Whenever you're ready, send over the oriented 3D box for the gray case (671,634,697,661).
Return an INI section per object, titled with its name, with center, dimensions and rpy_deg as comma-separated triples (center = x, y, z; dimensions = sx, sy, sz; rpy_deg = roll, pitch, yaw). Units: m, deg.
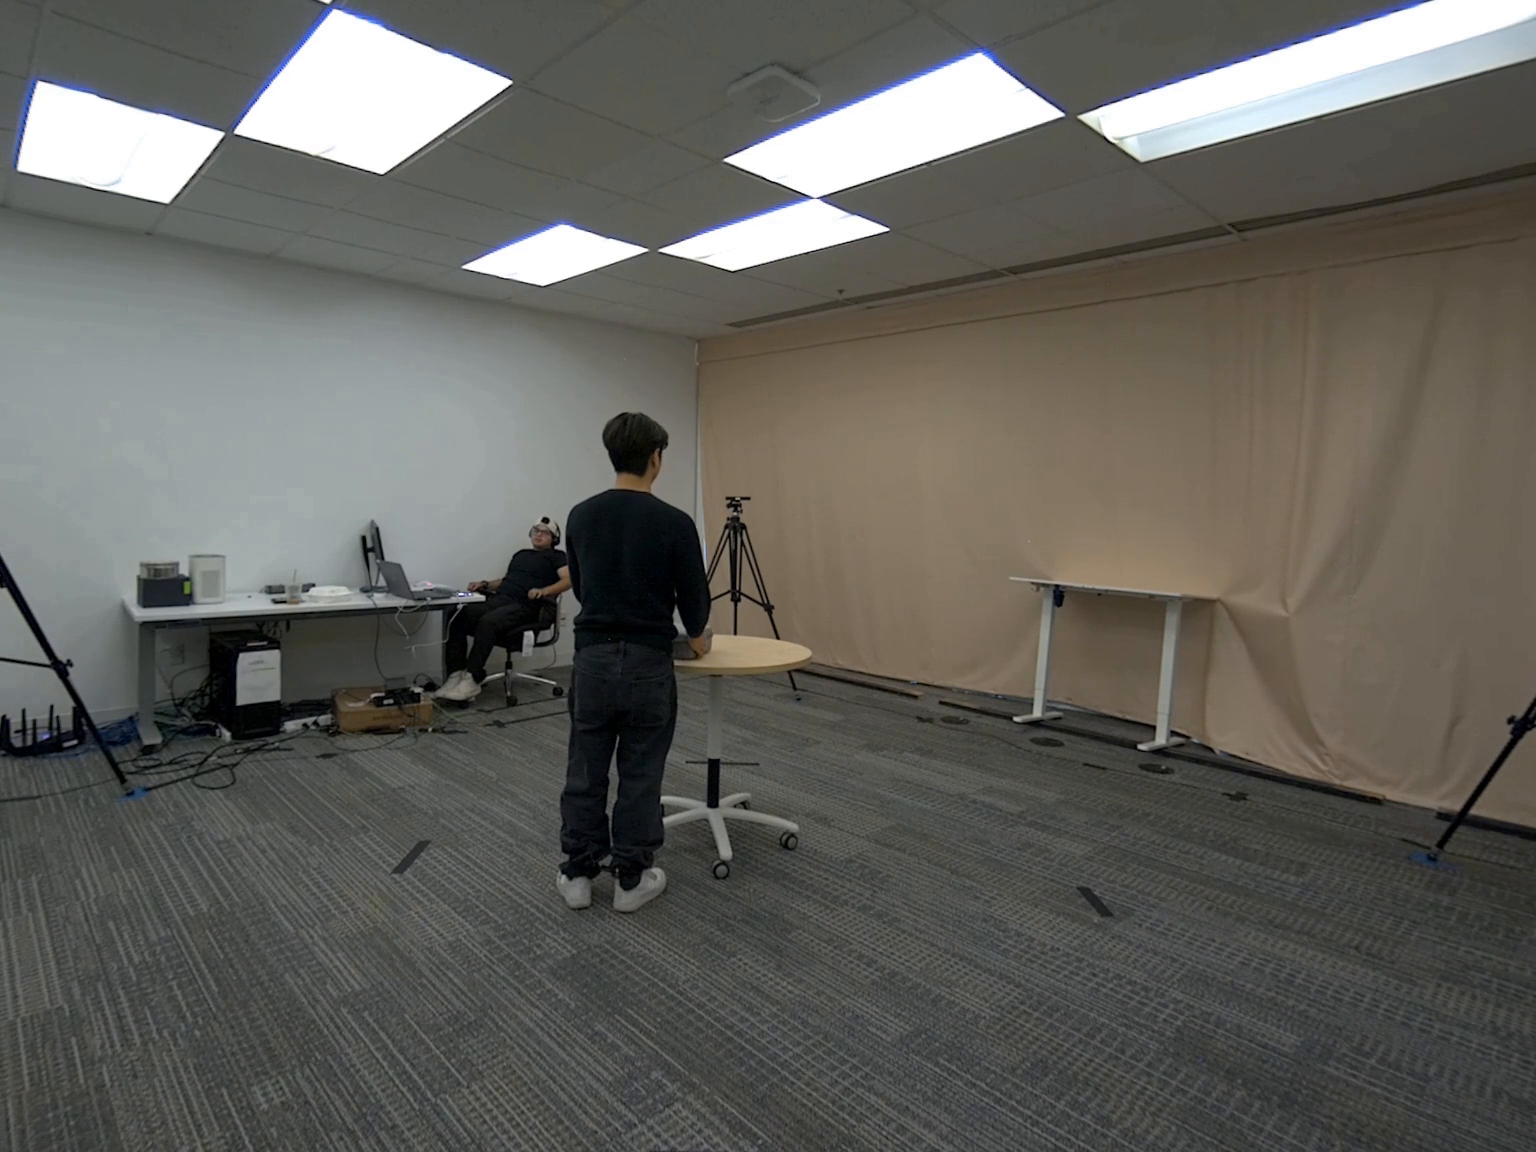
[gray case]
center = -0.378, 0.253, 3.271
dimensions = 0.261, 0.104, 0.257
rpy_deg = 4, 5, 17
